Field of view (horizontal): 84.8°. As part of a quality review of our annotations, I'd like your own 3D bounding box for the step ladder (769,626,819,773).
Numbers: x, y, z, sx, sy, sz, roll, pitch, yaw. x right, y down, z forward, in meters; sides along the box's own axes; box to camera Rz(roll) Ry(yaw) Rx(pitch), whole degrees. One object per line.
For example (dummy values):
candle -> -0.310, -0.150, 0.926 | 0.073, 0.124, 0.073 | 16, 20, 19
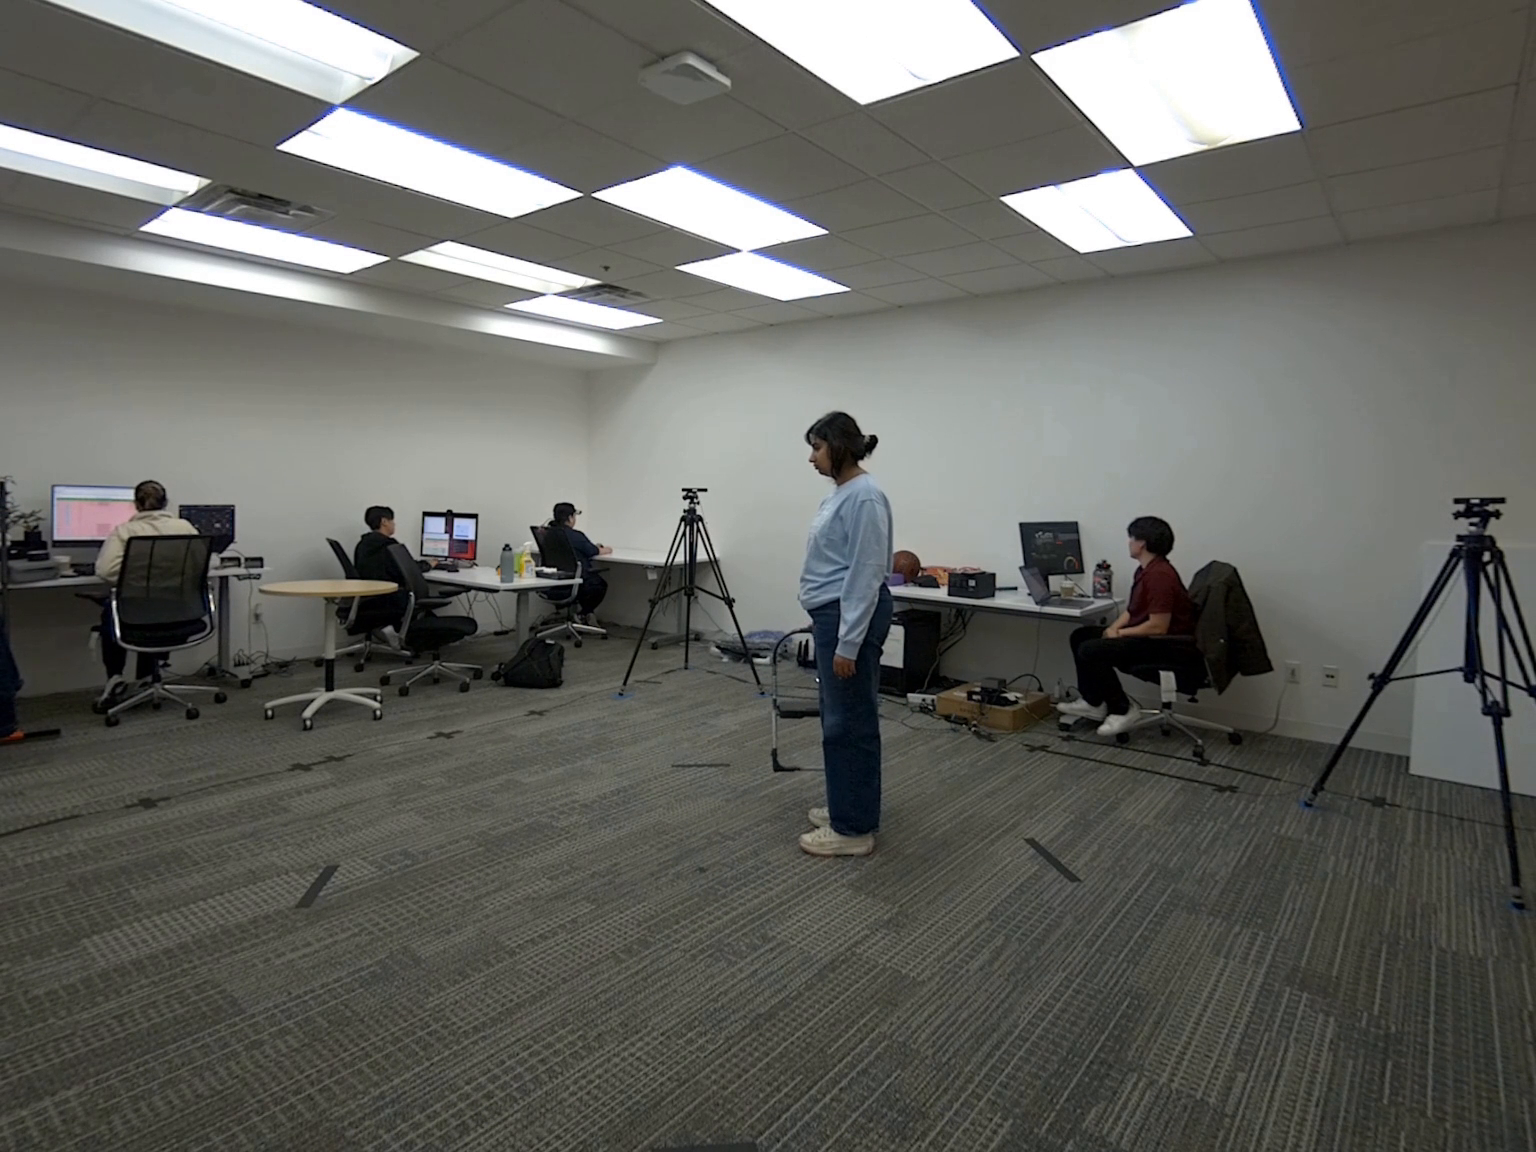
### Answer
step ladder -> 0.210, 0.528, 3.800 | 0.431, 0.607, 0.348 | -1, -1, 1
